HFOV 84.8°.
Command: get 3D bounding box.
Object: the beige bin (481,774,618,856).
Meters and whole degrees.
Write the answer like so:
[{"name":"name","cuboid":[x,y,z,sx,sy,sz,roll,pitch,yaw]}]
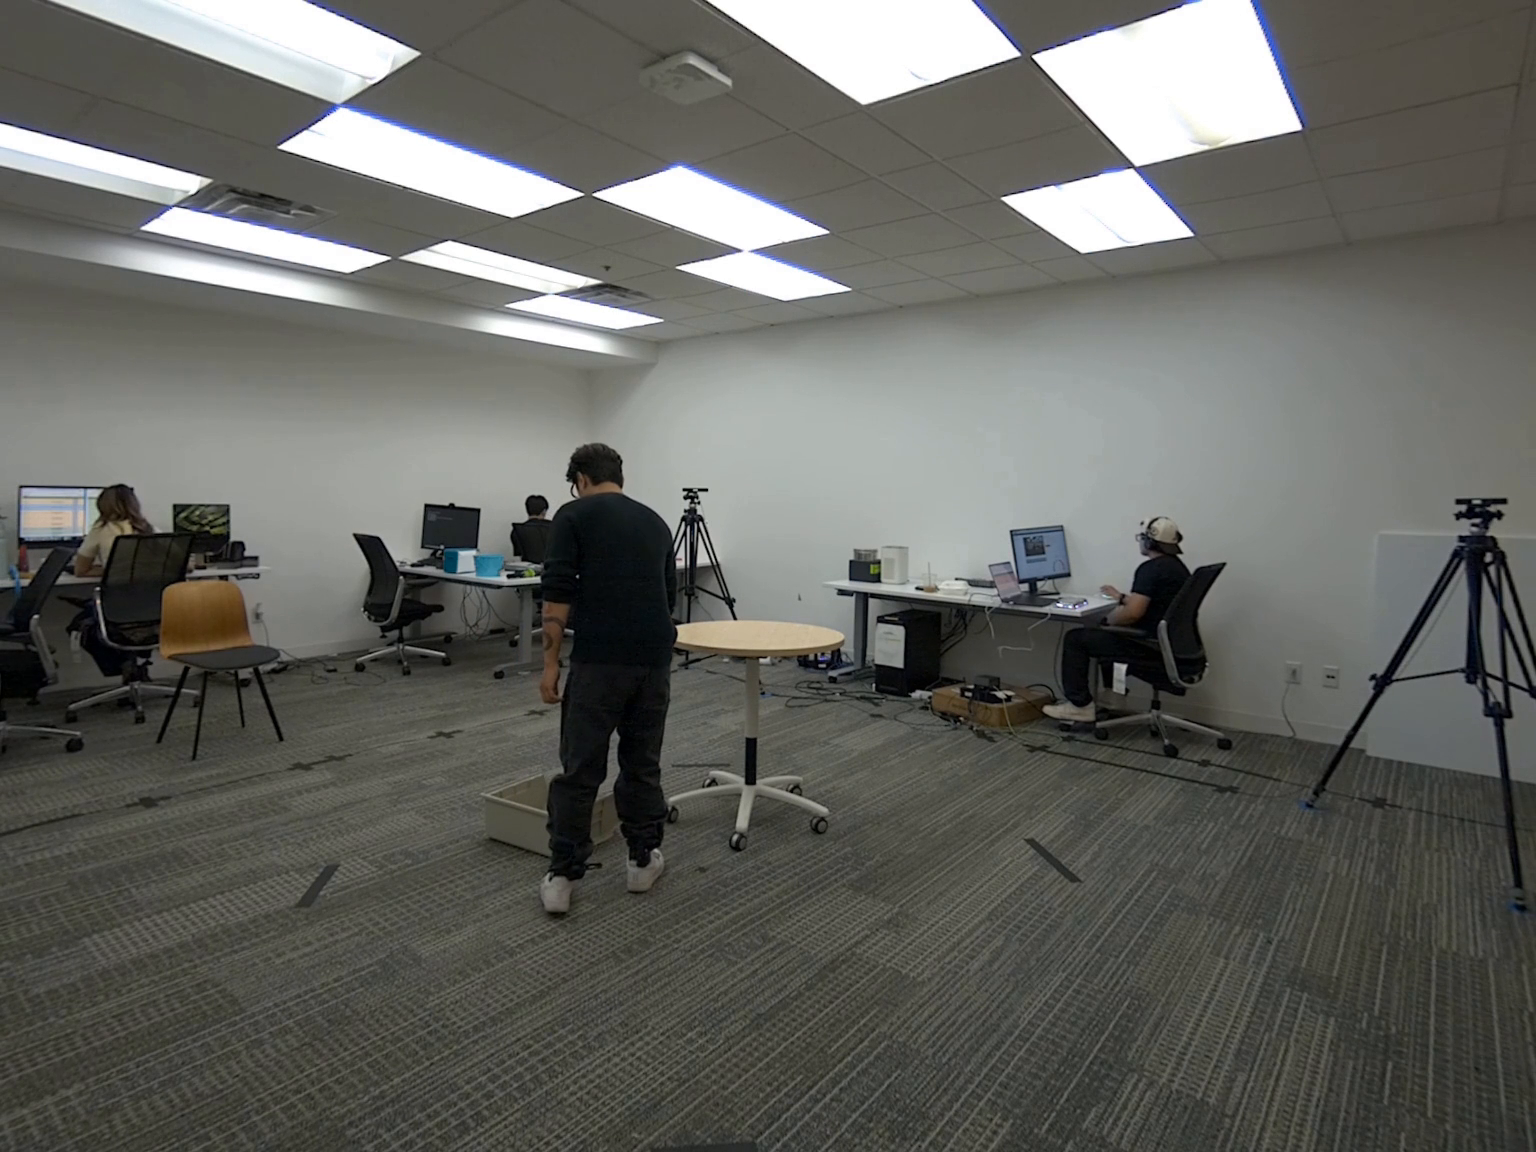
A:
[{"name":"beige bin","cuboid":[-0.875,0.943,3.388,0.435,0.188,0.368,5,7,30]}]
